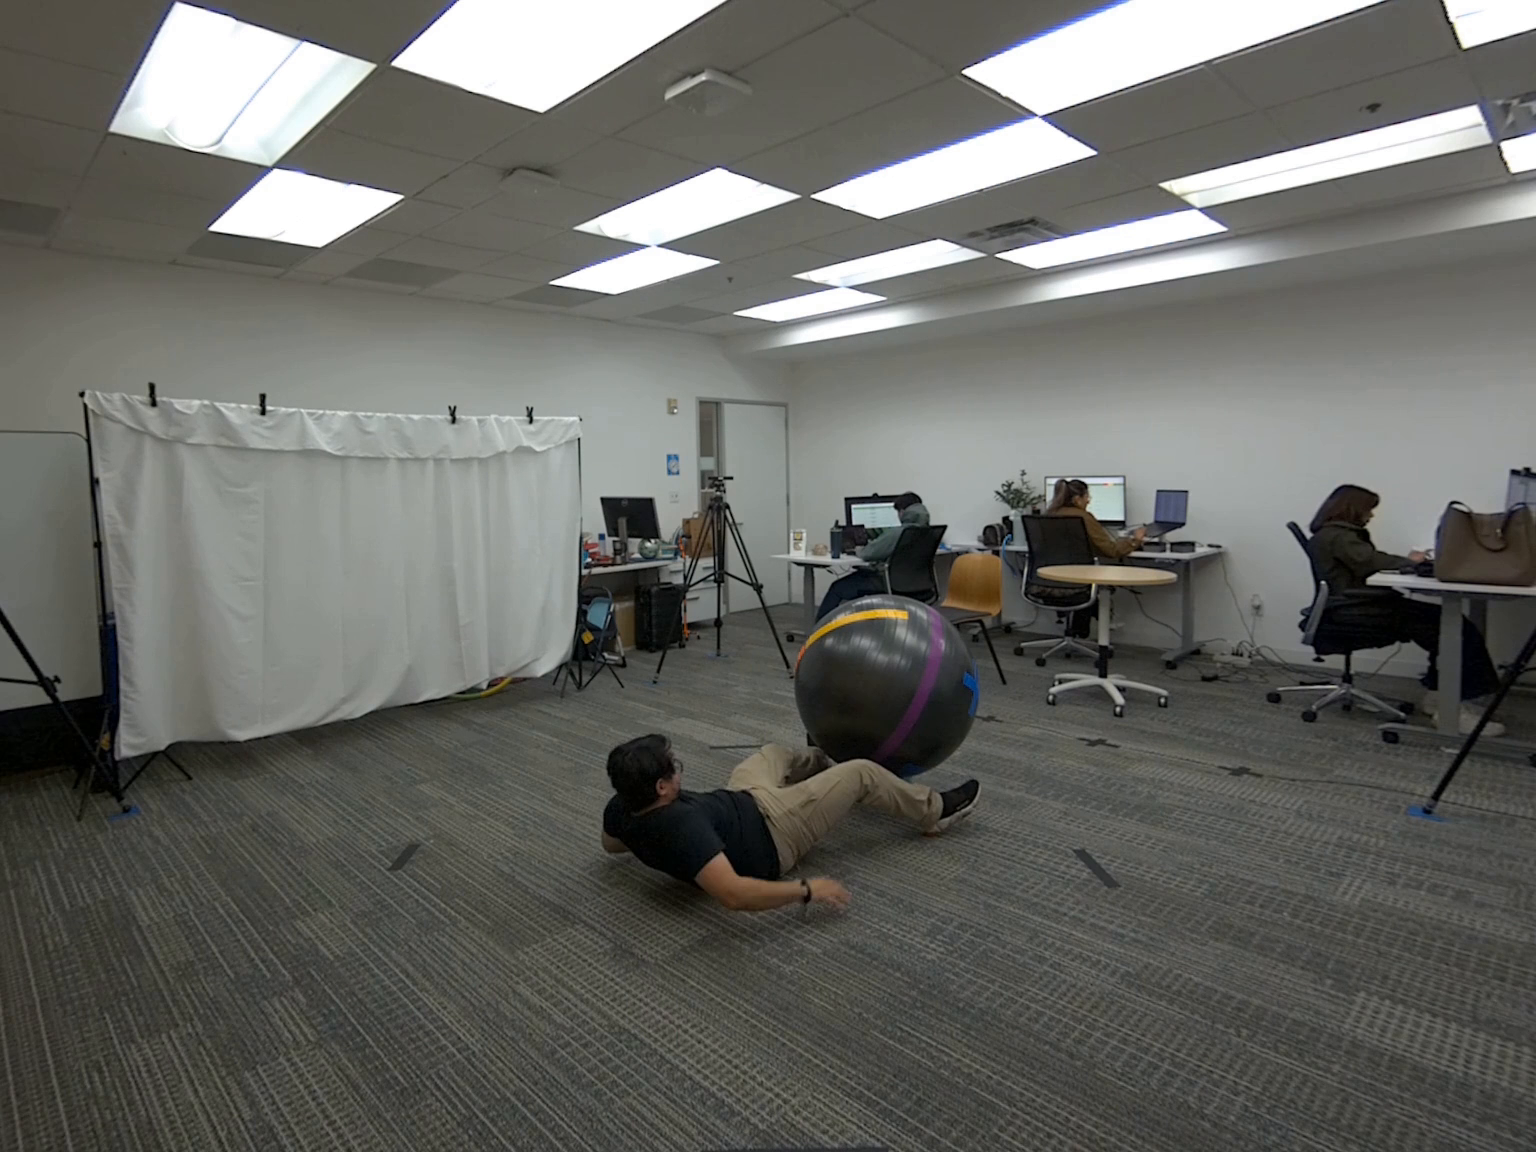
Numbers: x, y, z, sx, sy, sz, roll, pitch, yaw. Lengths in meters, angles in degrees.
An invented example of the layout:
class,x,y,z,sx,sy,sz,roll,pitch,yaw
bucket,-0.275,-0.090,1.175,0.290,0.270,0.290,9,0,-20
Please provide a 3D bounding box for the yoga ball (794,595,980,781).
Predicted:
class,x,y,z,sx,sy,sz,roll,pitch,yaw
yoga ball,0.493,0.463,3.587,0.757,0.755,0.762,-1,5,-2
